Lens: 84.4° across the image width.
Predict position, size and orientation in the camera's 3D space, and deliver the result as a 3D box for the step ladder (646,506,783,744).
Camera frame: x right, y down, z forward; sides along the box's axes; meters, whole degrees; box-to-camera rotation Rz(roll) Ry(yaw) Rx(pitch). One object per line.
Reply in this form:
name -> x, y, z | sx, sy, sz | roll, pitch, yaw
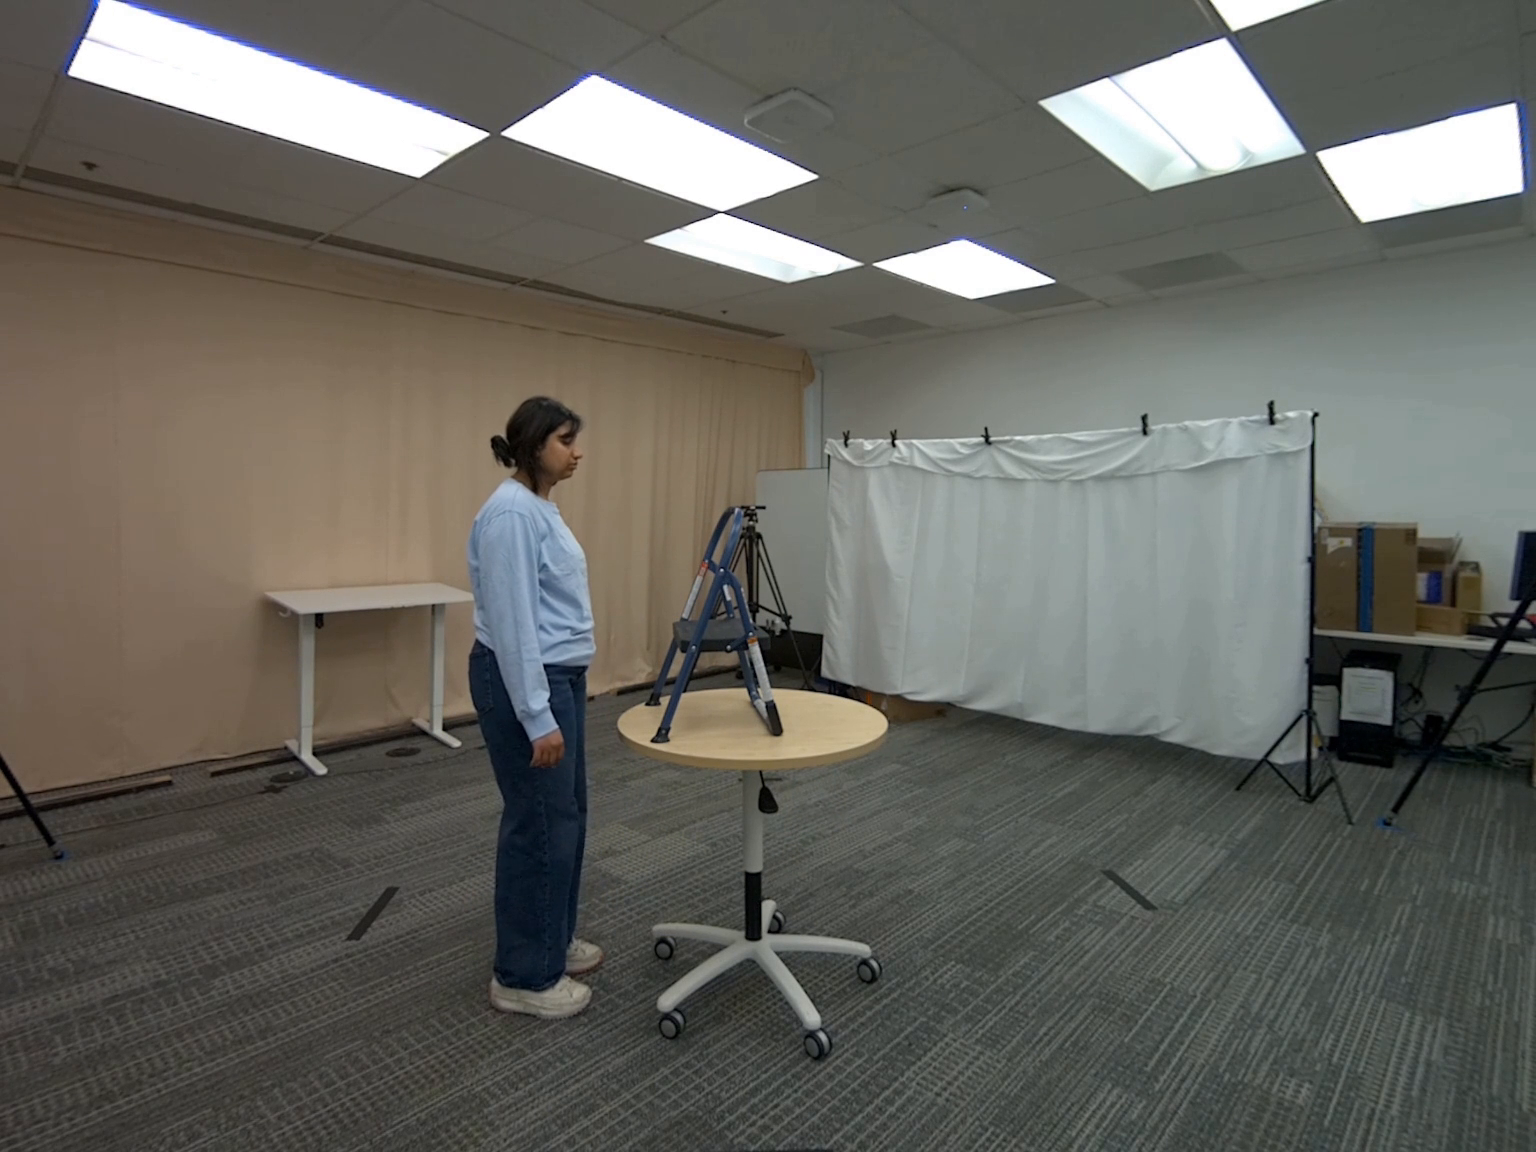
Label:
step ladder -> -0.167, 0.109, 2.376 | 0.346, 0.605, 0.436 | -2, 4, -10
